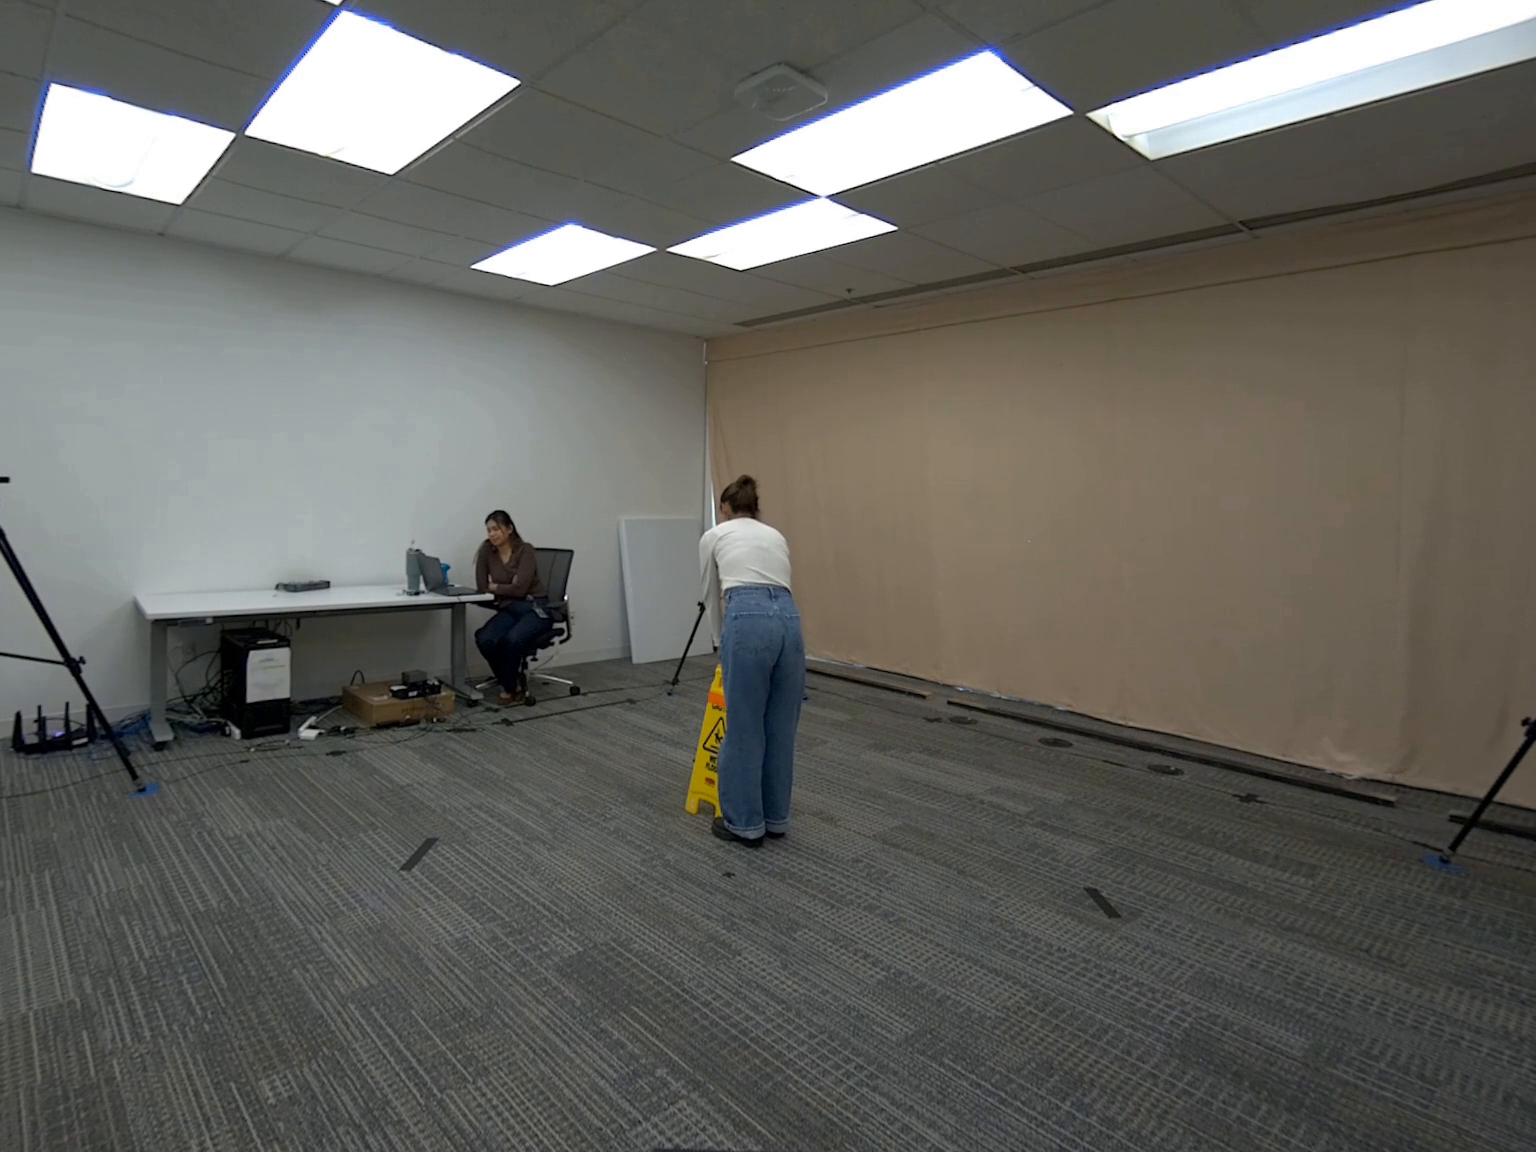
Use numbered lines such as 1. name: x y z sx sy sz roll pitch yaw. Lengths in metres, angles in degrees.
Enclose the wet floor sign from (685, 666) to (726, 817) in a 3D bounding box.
1. wet floor sign: -0.176 0.726 3.716 0.283 0.645 0.289 -2 4 -42
